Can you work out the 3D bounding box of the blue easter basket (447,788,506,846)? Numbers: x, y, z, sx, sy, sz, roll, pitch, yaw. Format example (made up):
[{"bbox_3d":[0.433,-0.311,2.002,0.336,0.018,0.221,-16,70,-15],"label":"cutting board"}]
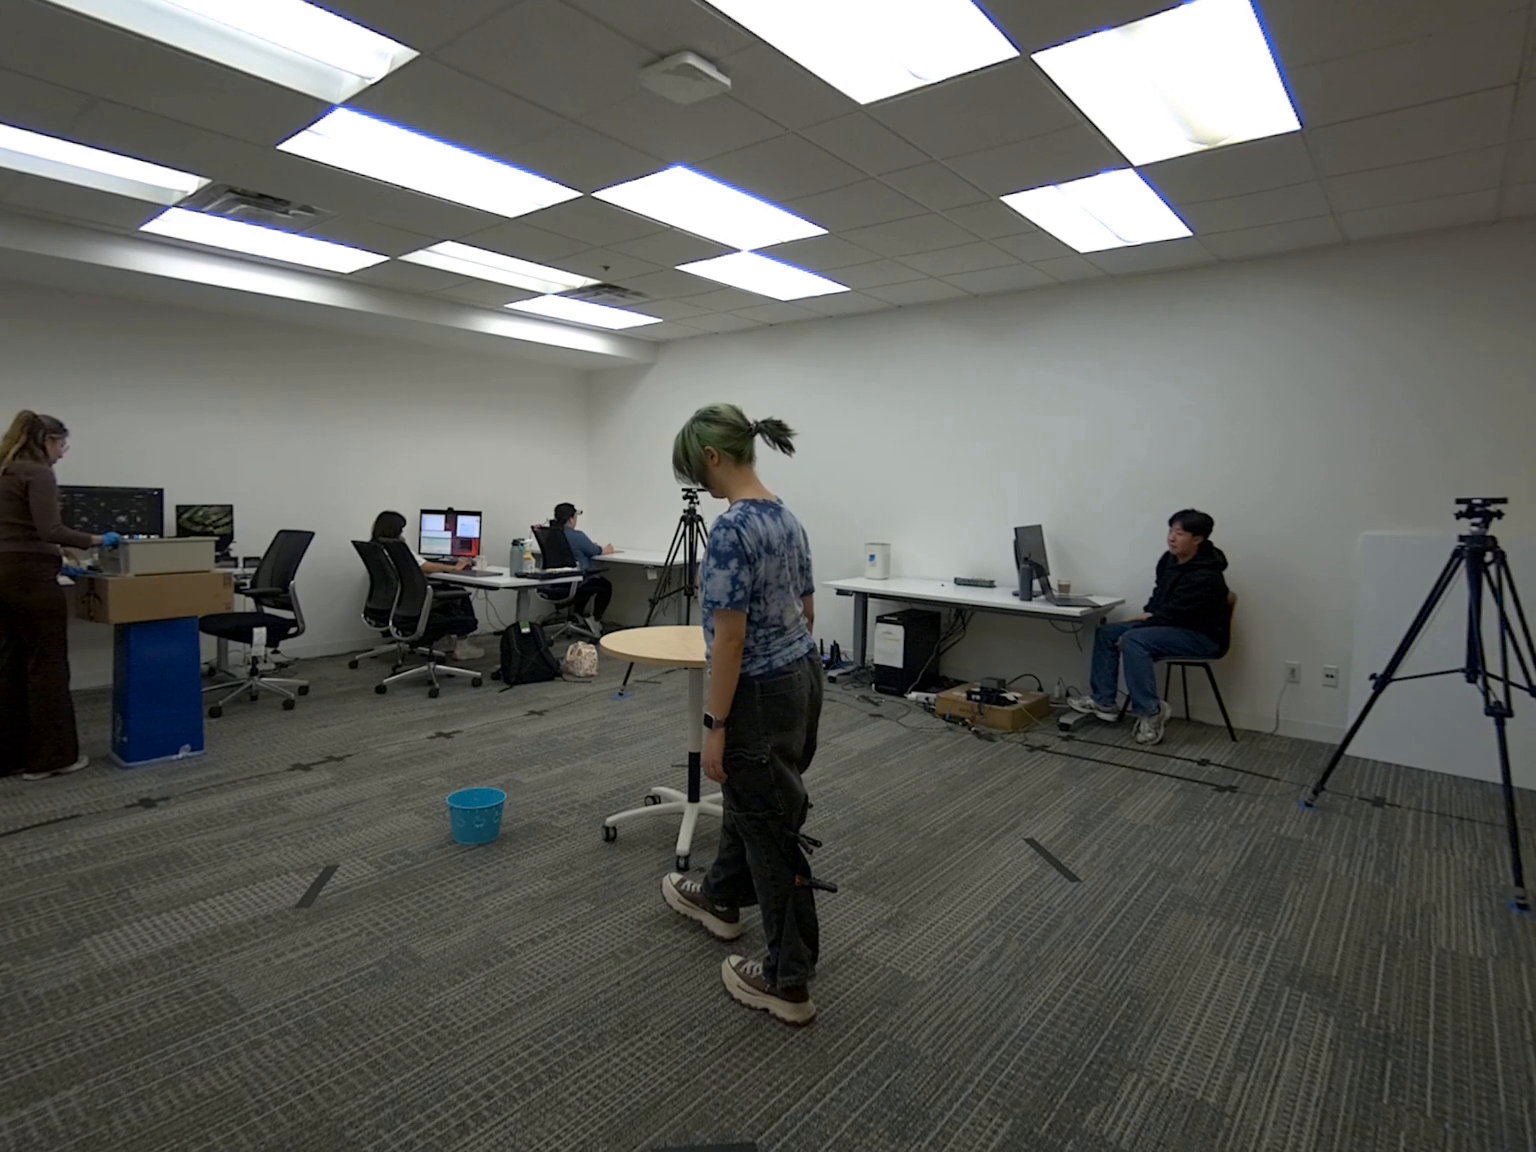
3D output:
[{"bbox_3d":[-1.173,0.951,3.387,0.243,0.155,0.245,1,5,-2],"label":"blue easter basket"}]
